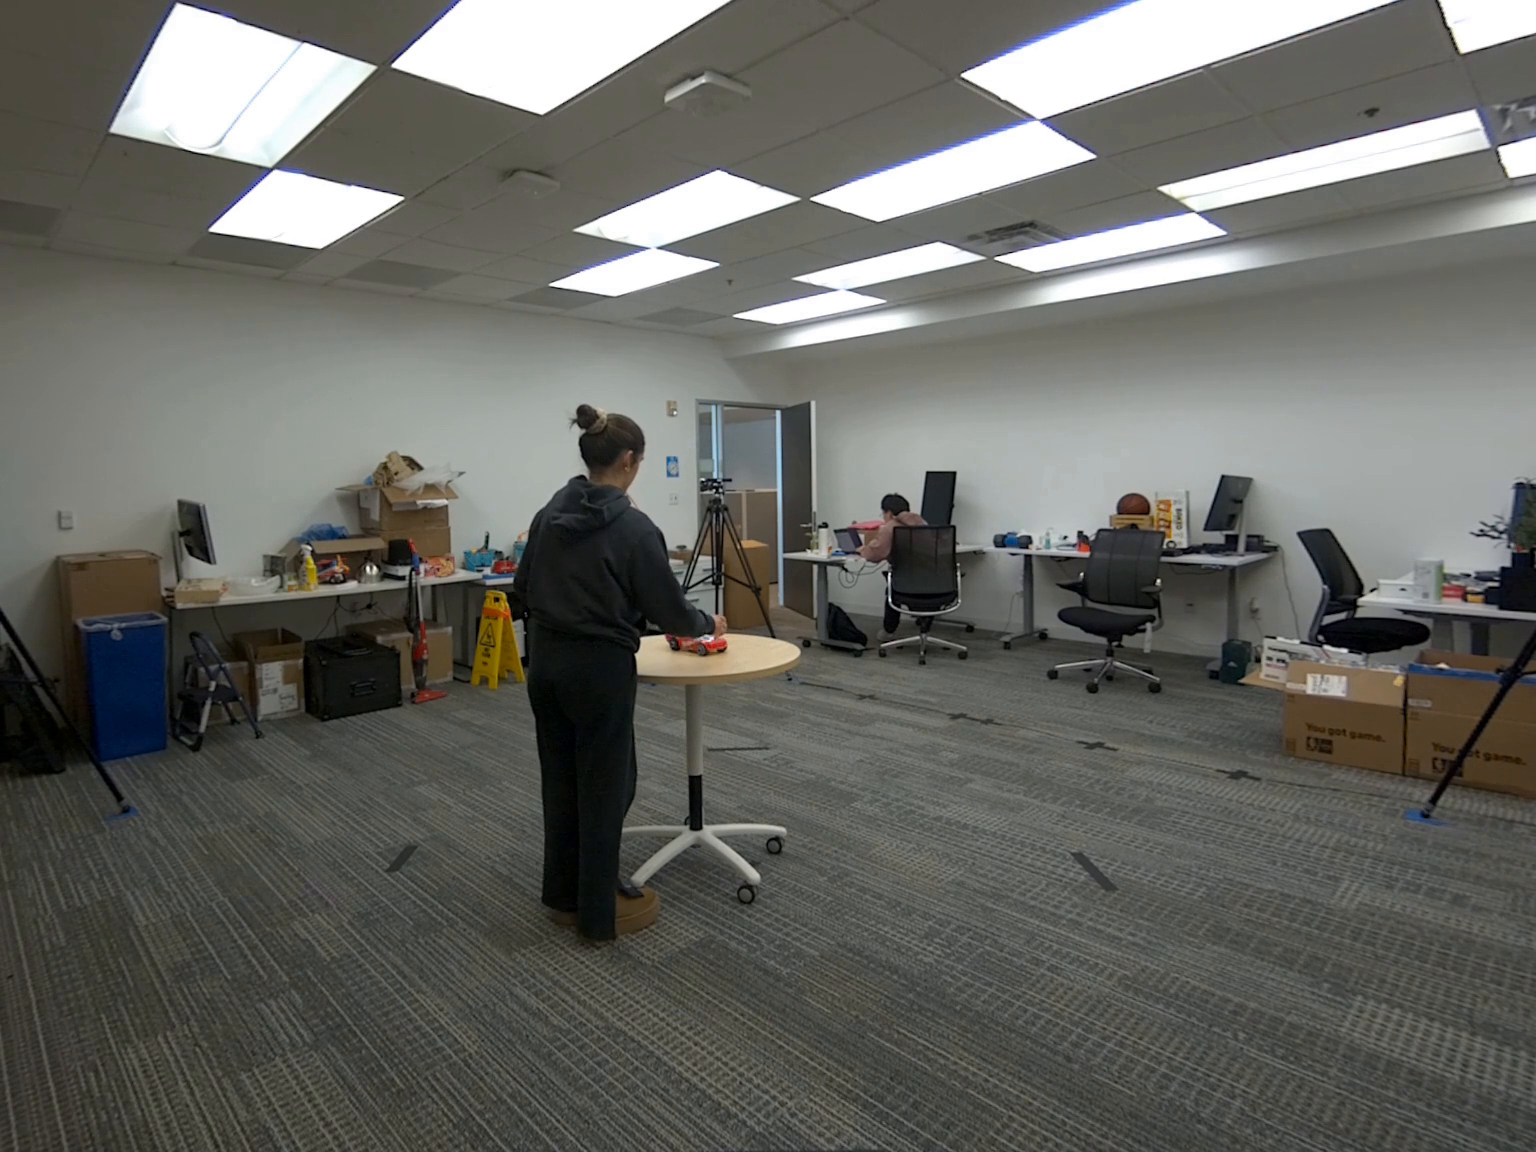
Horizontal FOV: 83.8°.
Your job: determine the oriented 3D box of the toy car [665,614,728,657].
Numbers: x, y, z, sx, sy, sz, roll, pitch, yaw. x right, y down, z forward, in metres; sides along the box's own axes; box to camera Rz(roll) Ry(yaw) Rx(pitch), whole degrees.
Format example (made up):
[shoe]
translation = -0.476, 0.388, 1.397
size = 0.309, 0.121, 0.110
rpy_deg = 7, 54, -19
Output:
[toy car]
translation = -0.263, 0.239, 3.074
size = 0.127, 0.082, 0.264
rpy_deg = -5, 16, -45
